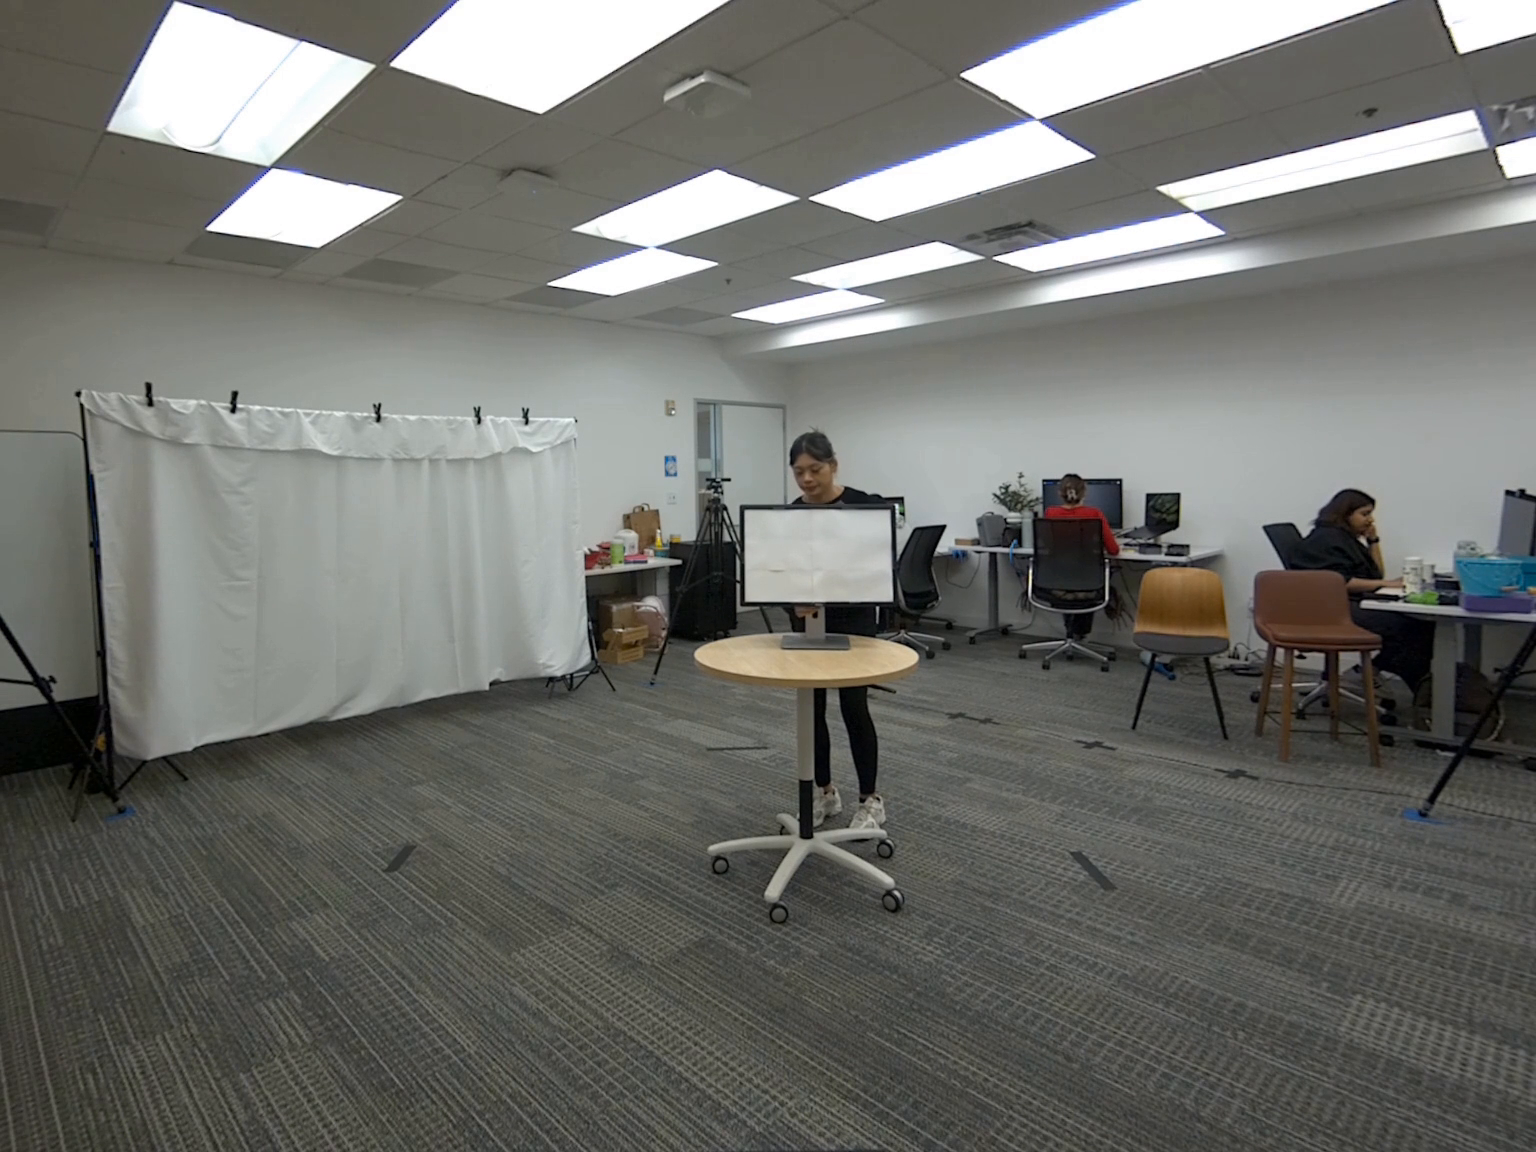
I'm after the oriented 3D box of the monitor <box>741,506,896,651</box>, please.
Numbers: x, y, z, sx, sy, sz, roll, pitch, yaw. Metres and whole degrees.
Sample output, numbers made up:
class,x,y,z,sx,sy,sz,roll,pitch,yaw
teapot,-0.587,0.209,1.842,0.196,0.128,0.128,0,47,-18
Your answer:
class,x,y,z,sx,sy,sz,roll,pitch,yaw
monitor,0.167,0.004,3.086,0.537,0.520,0.189,0,5,-4
